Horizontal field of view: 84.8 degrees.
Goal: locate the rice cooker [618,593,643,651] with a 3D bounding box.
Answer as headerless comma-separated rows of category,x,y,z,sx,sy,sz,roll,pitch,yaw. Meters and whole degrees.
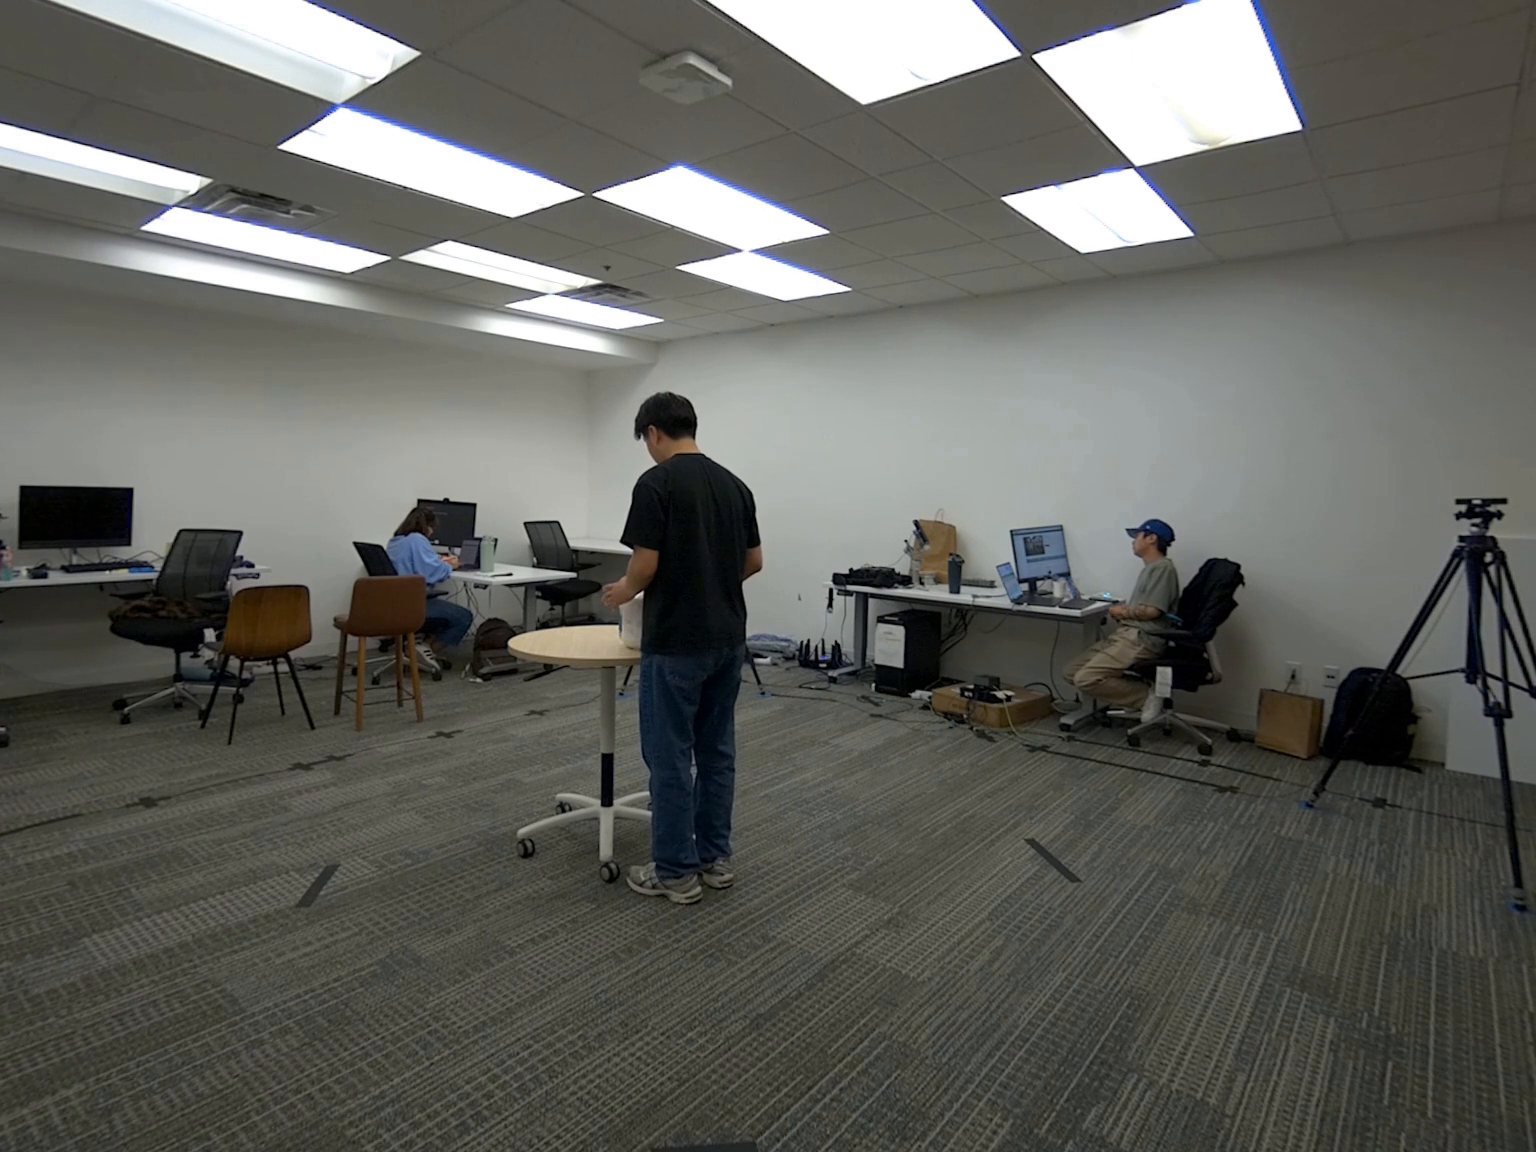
rice cooker,-0.452,0.147,3.193,0.214,0.232,0.225,0,5,-17
